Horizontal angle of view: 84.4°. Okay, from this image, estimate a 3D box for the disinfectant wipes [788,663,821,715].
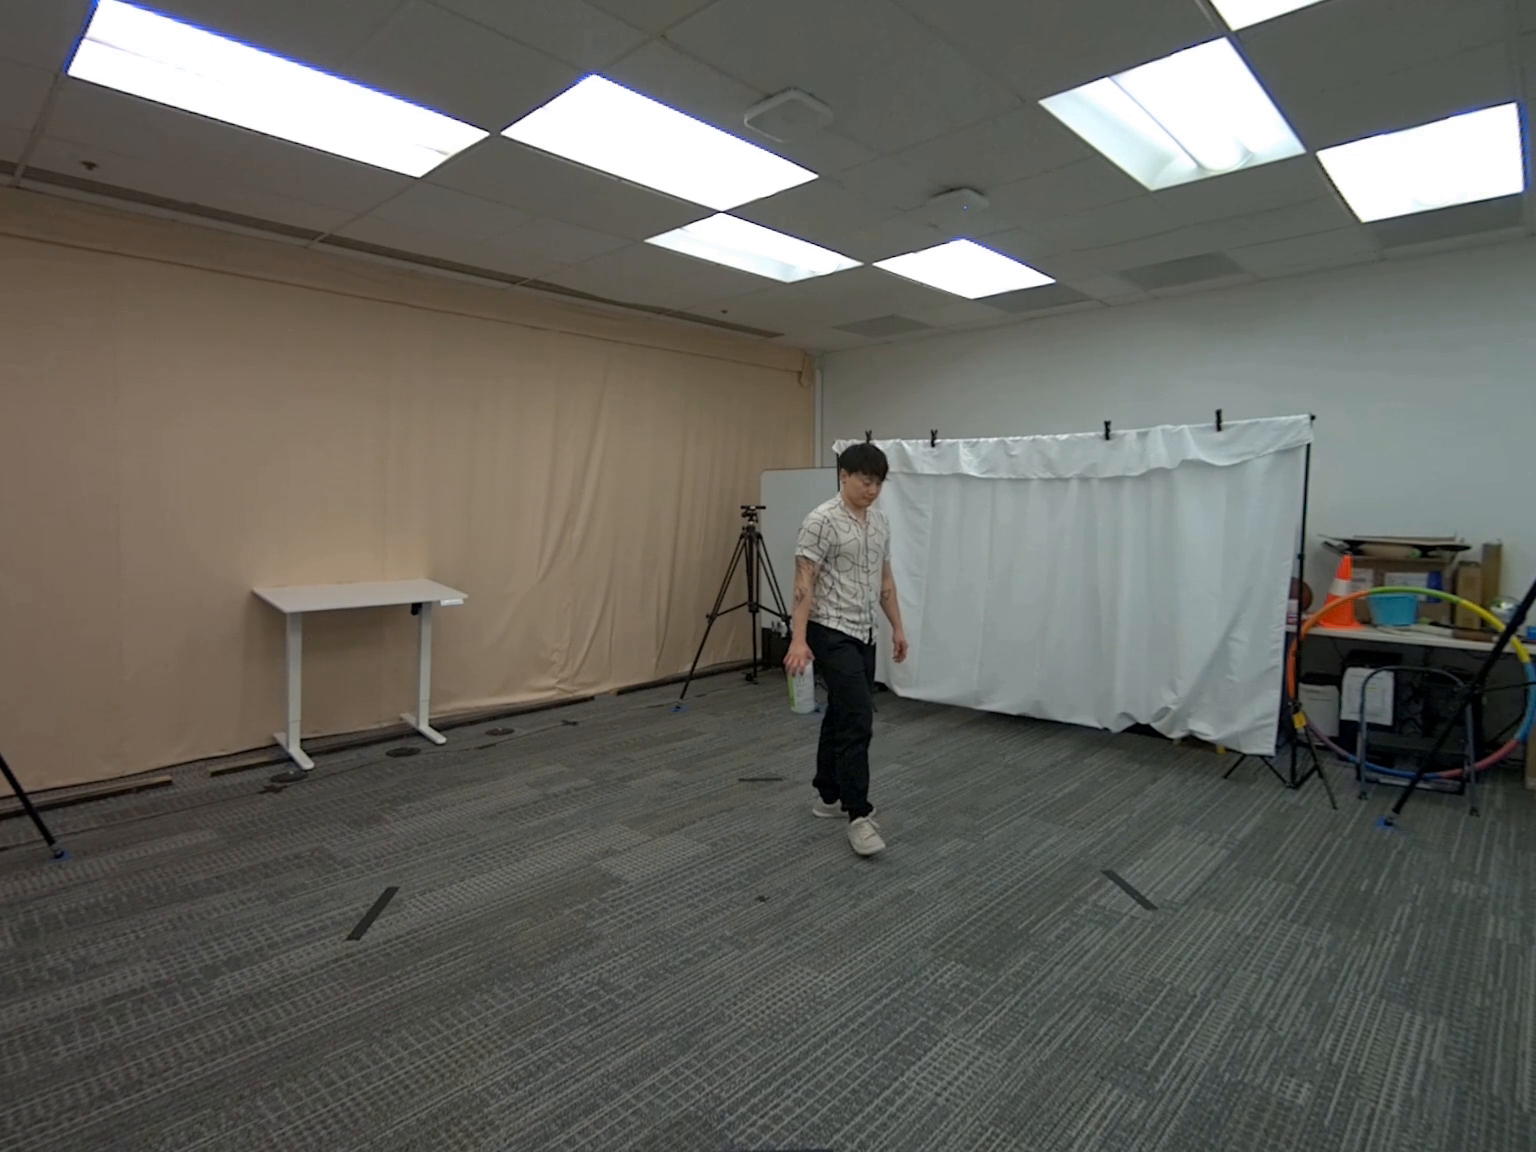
[{"bbox_3d":[0.148,0.466,3.540,0.118,0.215,0.119,-6,17,0],"label":"disinfectant wipes"}]
